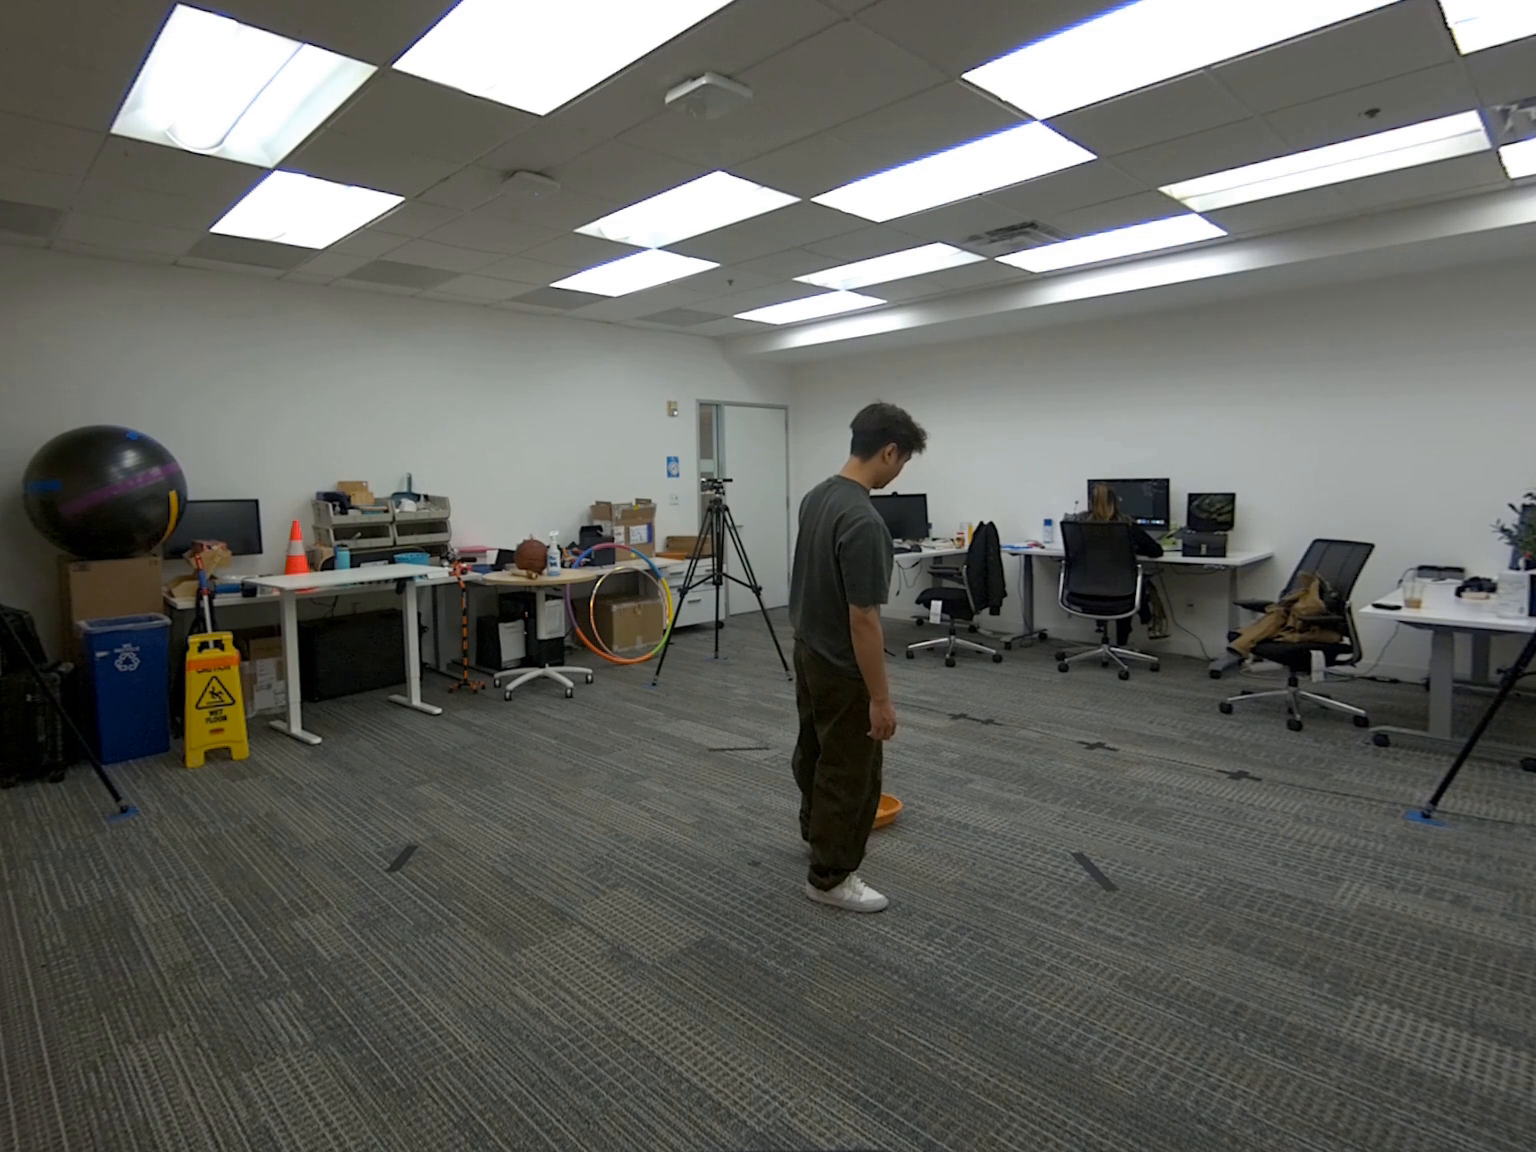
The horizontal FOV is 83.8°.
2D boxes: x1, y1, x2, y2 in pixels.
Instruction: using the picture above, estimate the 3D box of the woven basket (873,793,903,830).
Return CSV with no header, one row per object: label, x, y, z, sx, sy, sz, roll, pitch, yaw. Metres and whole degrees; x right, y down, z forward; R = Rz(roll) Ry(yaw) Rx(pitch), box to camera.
woven basket,0.389,0.954,3.460,0.341,0.073,0.260,-3,6,-36
